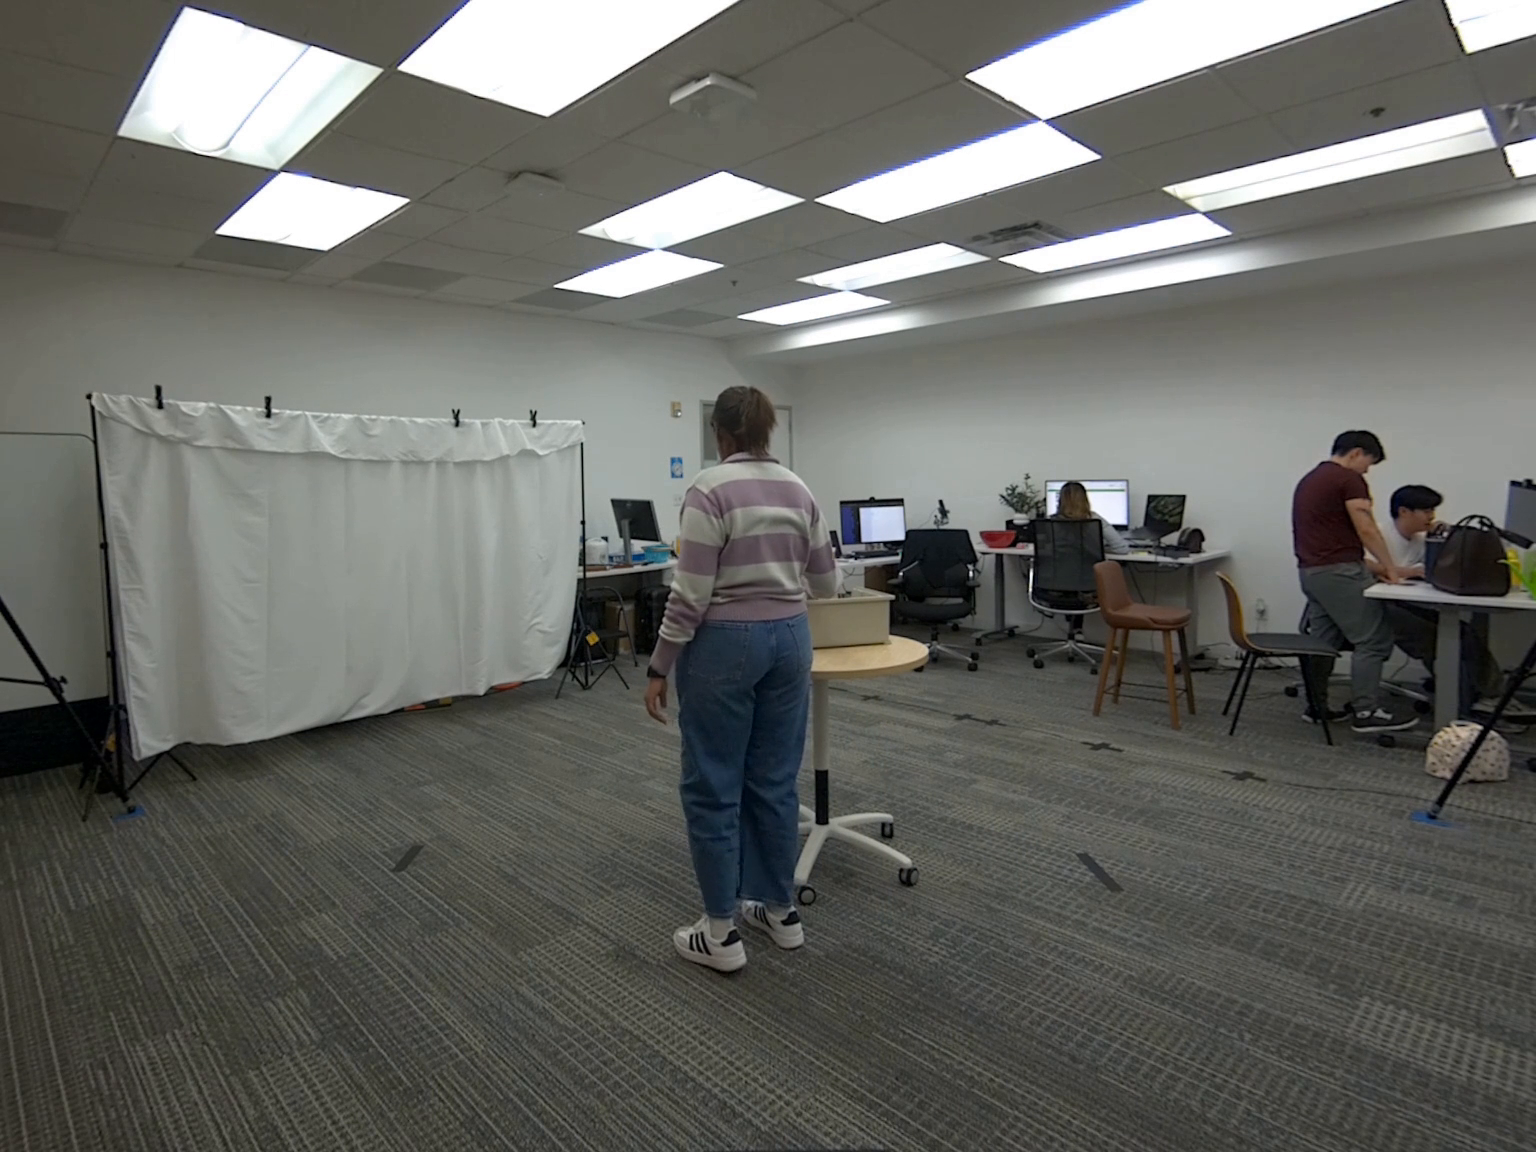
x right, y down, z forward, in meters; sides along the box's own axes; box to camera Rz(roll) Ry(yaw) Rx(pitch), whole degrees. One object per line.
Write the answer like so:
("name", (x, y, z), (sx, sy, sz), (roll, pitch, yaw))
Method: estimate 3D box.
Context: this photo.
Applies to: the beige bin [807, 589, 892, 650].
("beige bin", (0.208, 0.158, 3.243), (0.416, 0.188, 0.385), (-2, 6, -17))
